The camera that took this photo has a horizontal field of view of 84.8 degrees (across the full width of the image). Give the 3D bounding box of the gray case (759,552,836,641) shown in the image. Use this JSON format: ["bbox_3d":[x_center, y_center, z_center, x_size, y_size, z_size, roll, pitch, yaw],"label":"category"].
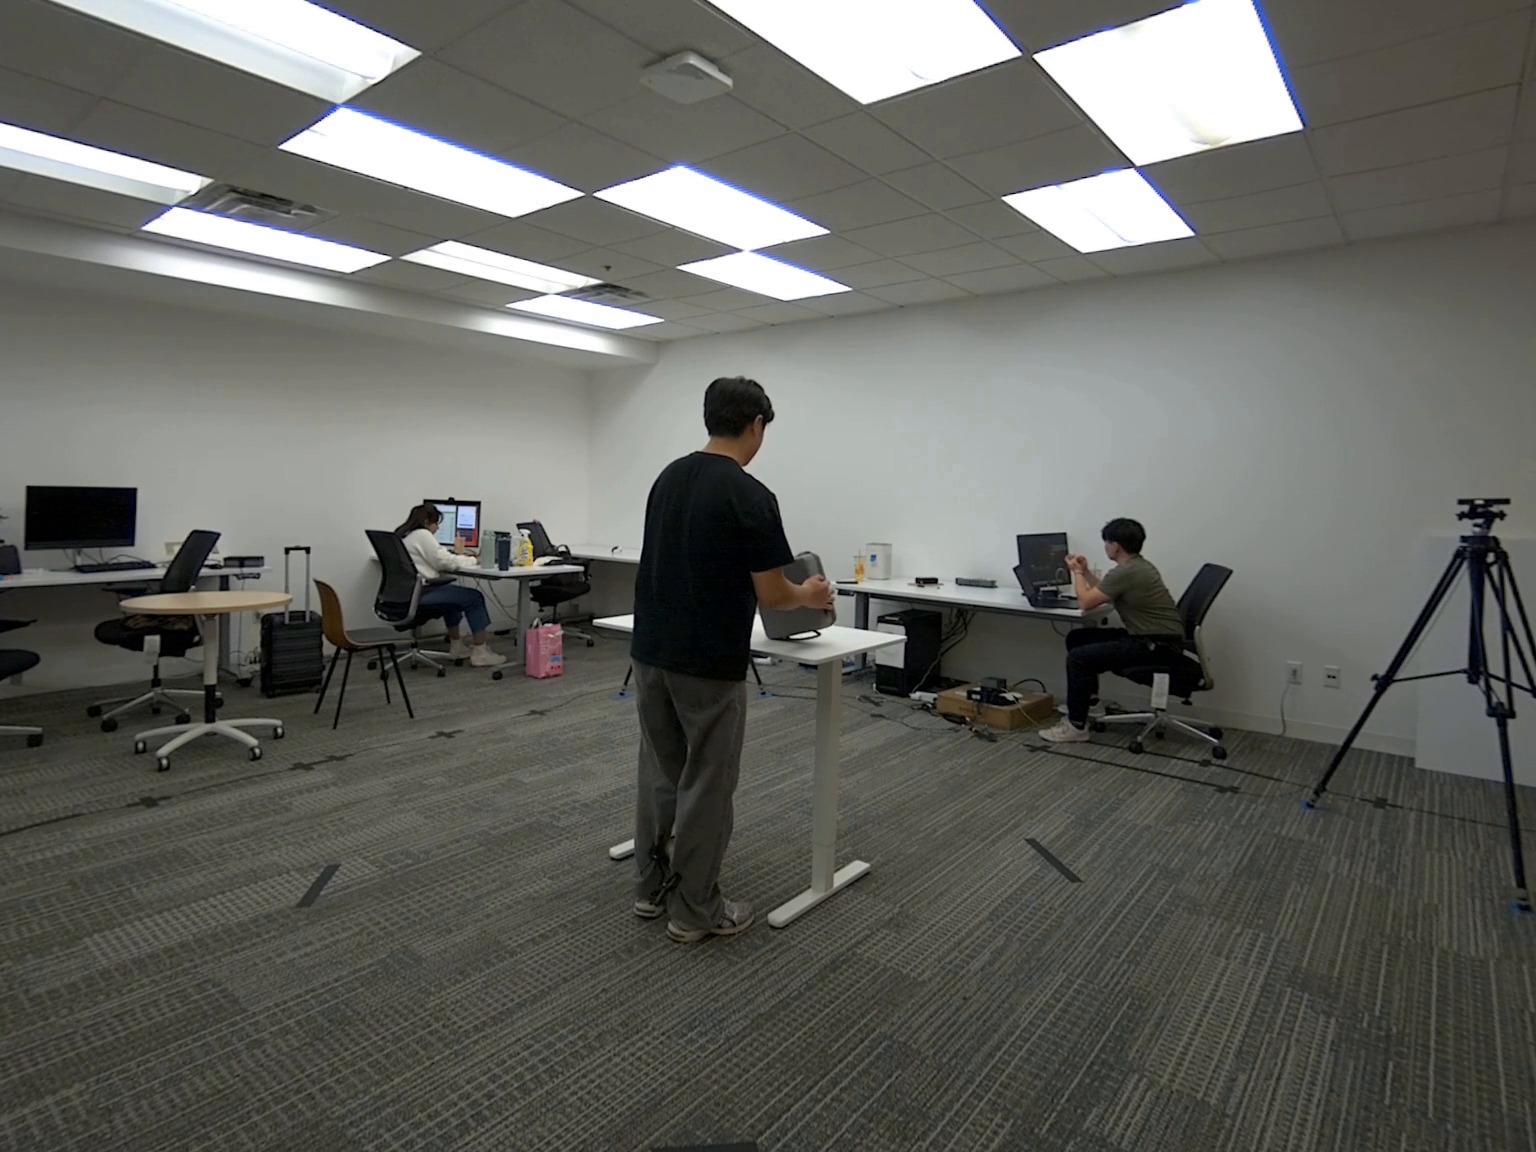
[{"bbox_3d":[0.069,0.073,2.873,0.262,0.262,0.101,-17,-5,36],"label":"gray case"}]
